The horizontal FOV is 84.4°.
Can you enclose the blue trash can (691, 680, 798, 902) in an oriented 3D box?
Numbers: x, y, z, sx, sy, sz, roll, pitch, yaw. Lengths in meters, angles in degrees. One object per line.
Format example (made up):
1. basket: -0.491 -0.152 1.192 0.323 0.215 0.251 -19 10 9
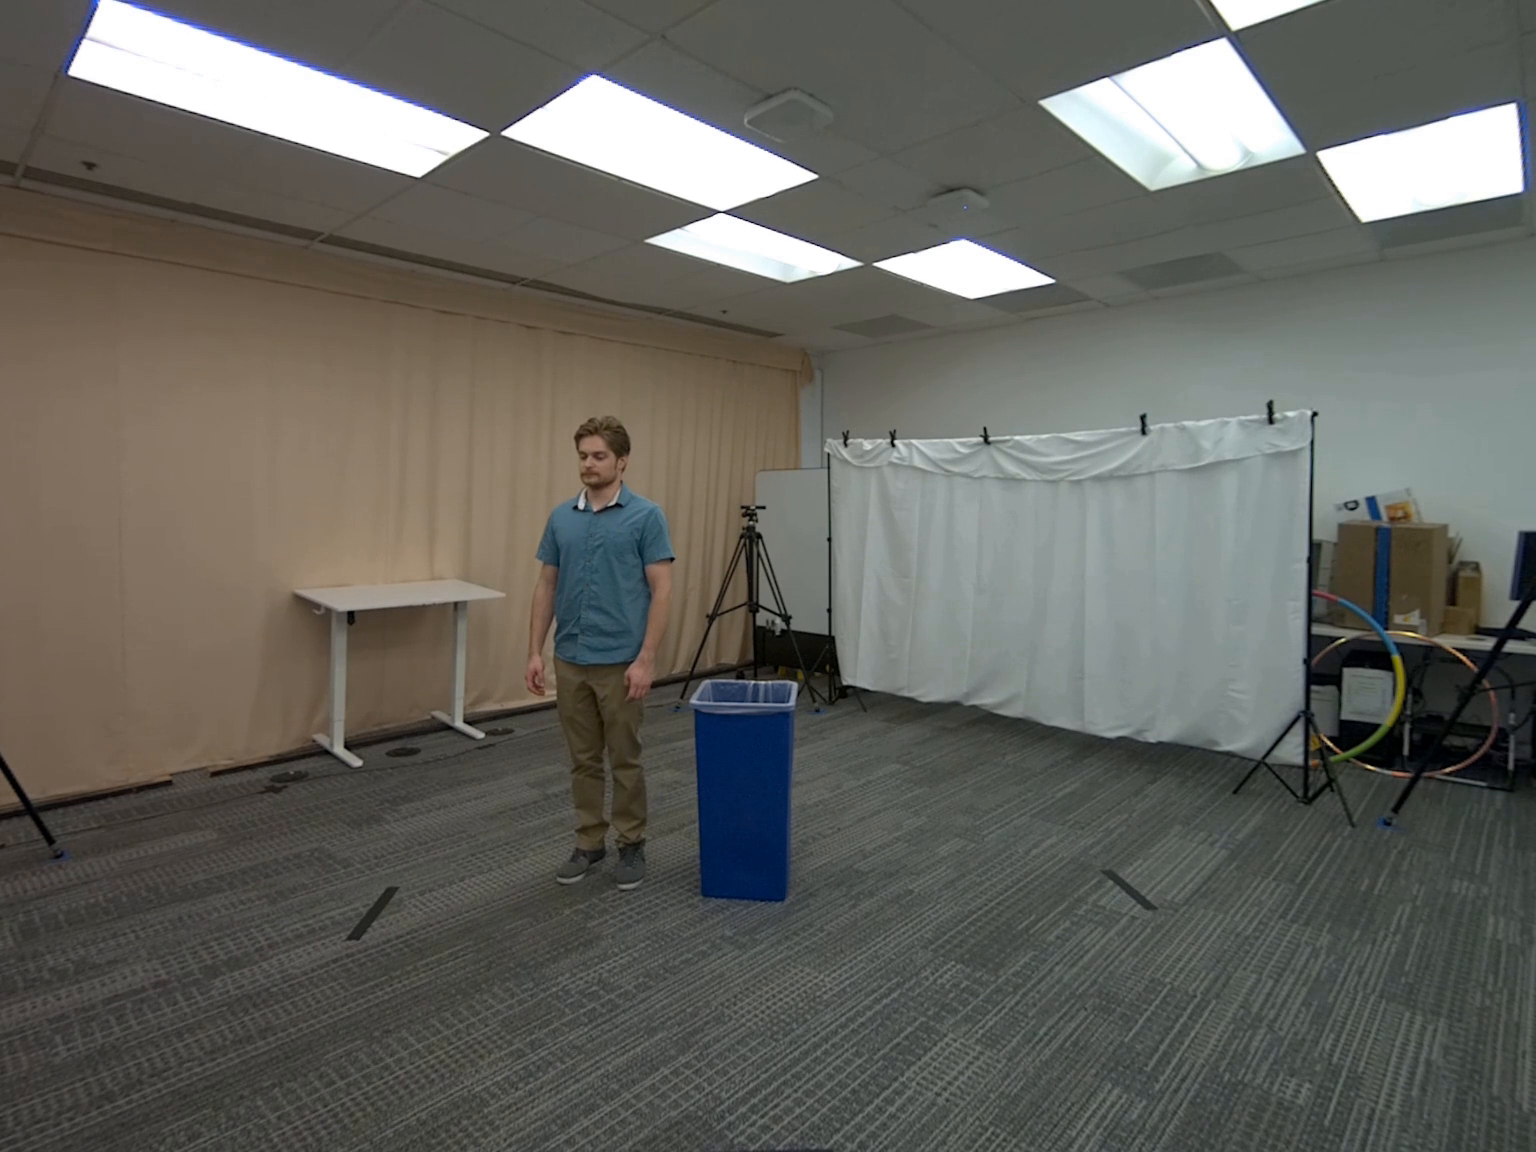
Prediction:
1. blue trash can: -0.084 0.777 3.094 0.377 0.712 0.376 1 4 5
